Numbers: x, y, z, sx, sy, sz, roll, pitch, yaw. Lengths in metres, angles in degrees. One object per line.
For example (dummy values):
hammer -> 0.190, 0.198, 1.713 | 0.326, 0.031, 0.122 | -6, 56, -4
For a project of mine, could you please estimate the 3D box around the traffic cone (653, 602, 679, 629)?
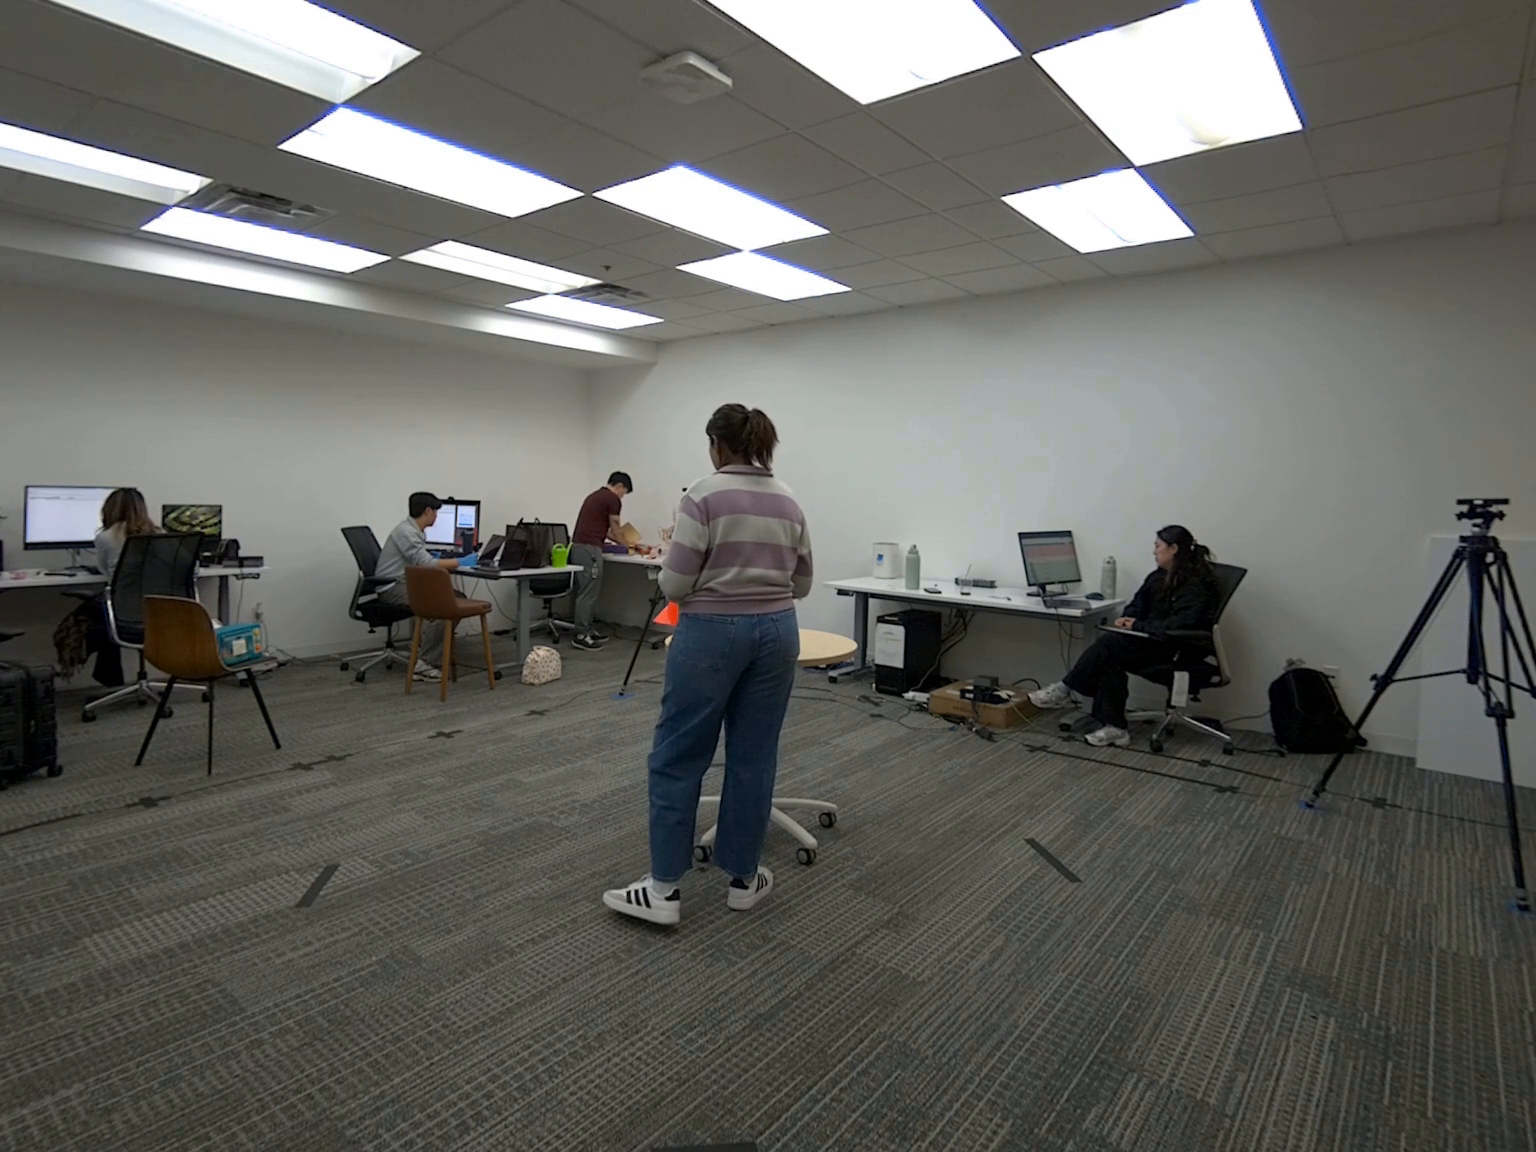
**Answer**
traffic cone -> -0.284, -0.028, 3.037 | 0.210, 0.378, 0.201 | 15, 22, 20
